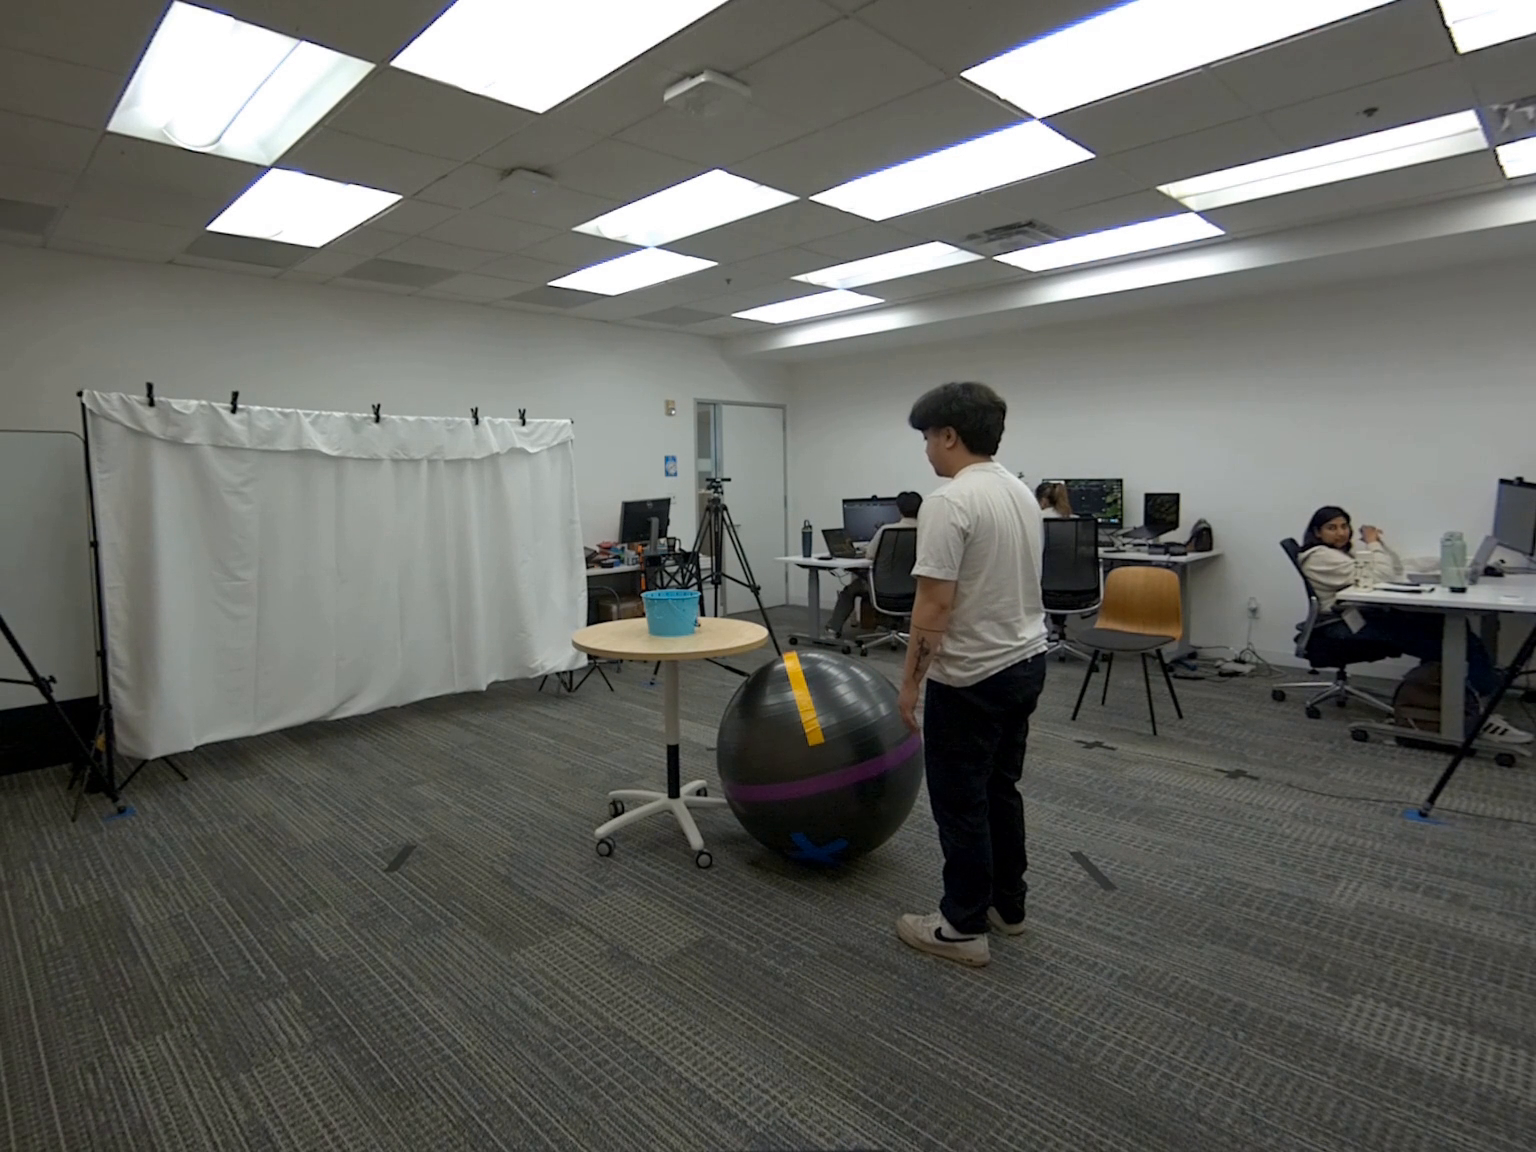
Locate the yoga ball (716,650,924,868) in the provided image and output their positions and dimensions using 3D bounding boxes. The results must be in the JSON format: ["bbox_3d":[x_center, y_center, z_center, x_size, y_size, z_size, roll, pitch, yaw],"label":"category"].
[{"bbox_3d":[0.194,0.663,3.152,0.757,0.755,0.762,-1,5,-2],"label":"yoga ball"}]
